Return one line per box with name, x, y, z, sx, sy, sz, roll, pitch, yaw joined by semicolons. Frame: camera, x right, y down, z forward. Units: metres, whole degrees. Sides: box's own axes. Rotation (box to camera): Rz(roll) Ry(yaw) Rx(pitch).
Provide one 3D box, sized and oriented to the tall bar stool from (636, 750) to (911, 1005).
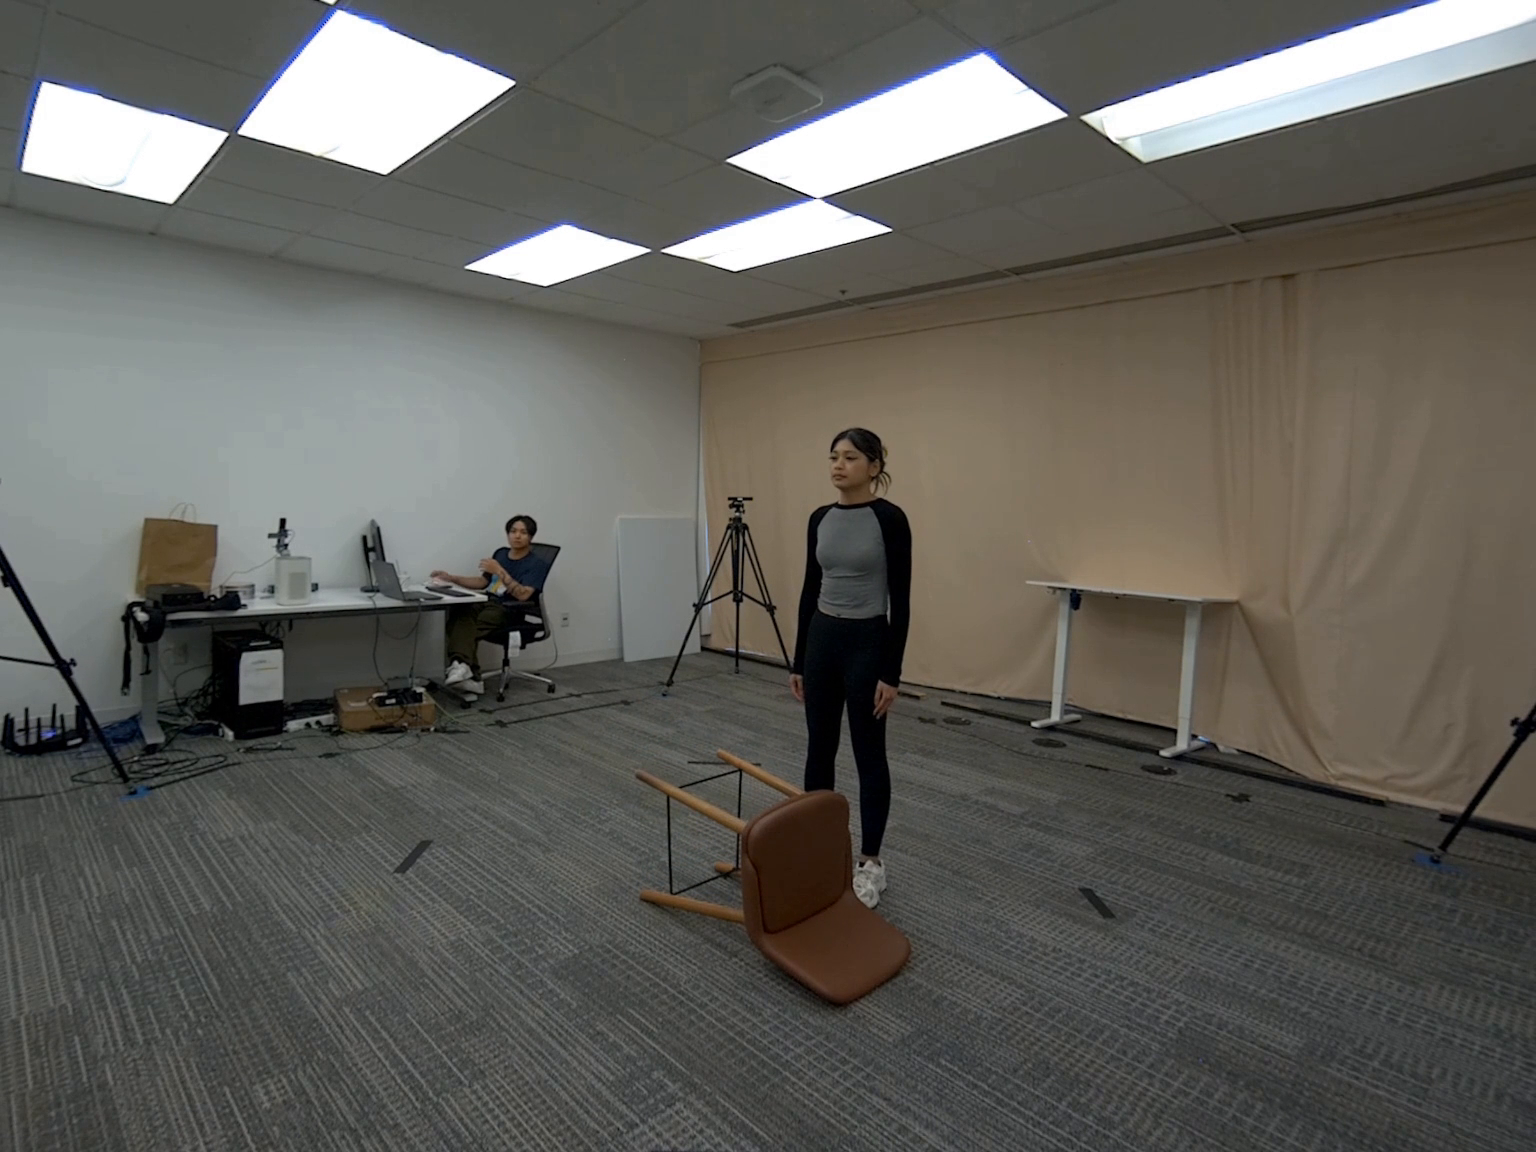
tall bar stool;-0.008;0.917;2.712;0.446;0.466;0.913;-2;6;-44
